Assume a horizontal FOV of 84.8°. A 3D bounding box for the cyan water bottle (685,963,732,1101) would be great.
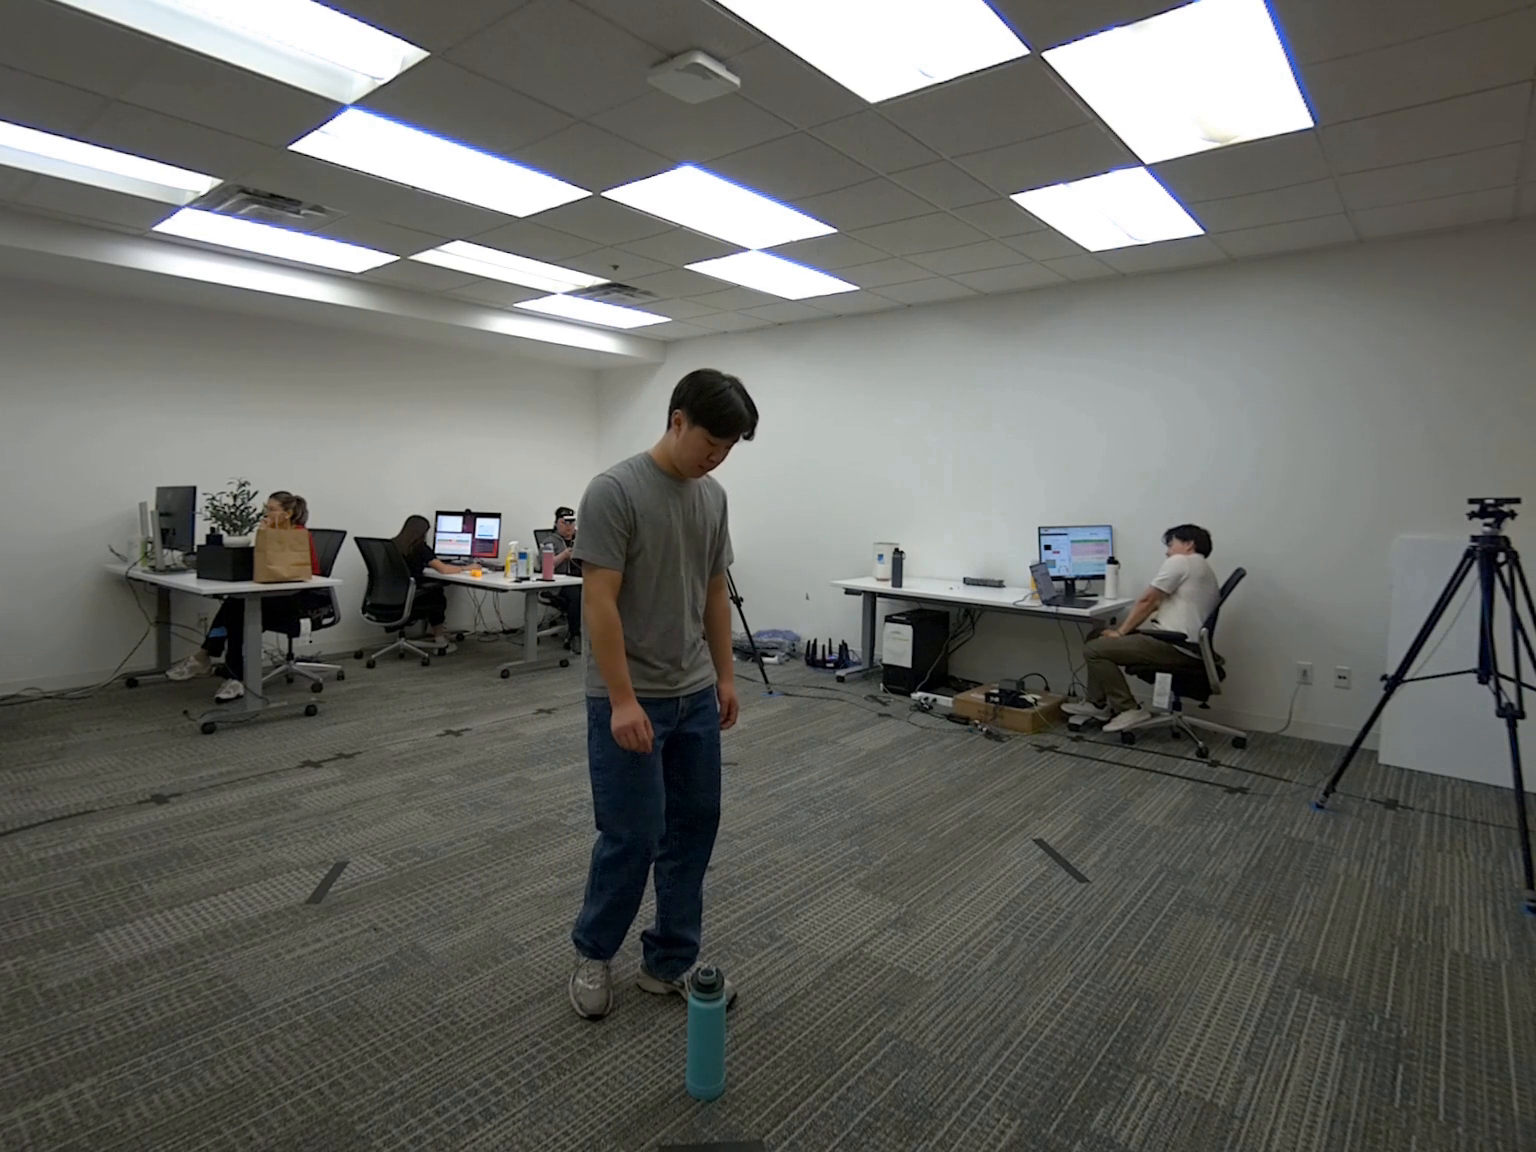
[{"bbox_3d":[-0.145,1.044,1.966,0.092,0.283,0.093,2,2,-2],"label":"cyan water bottle"}]
